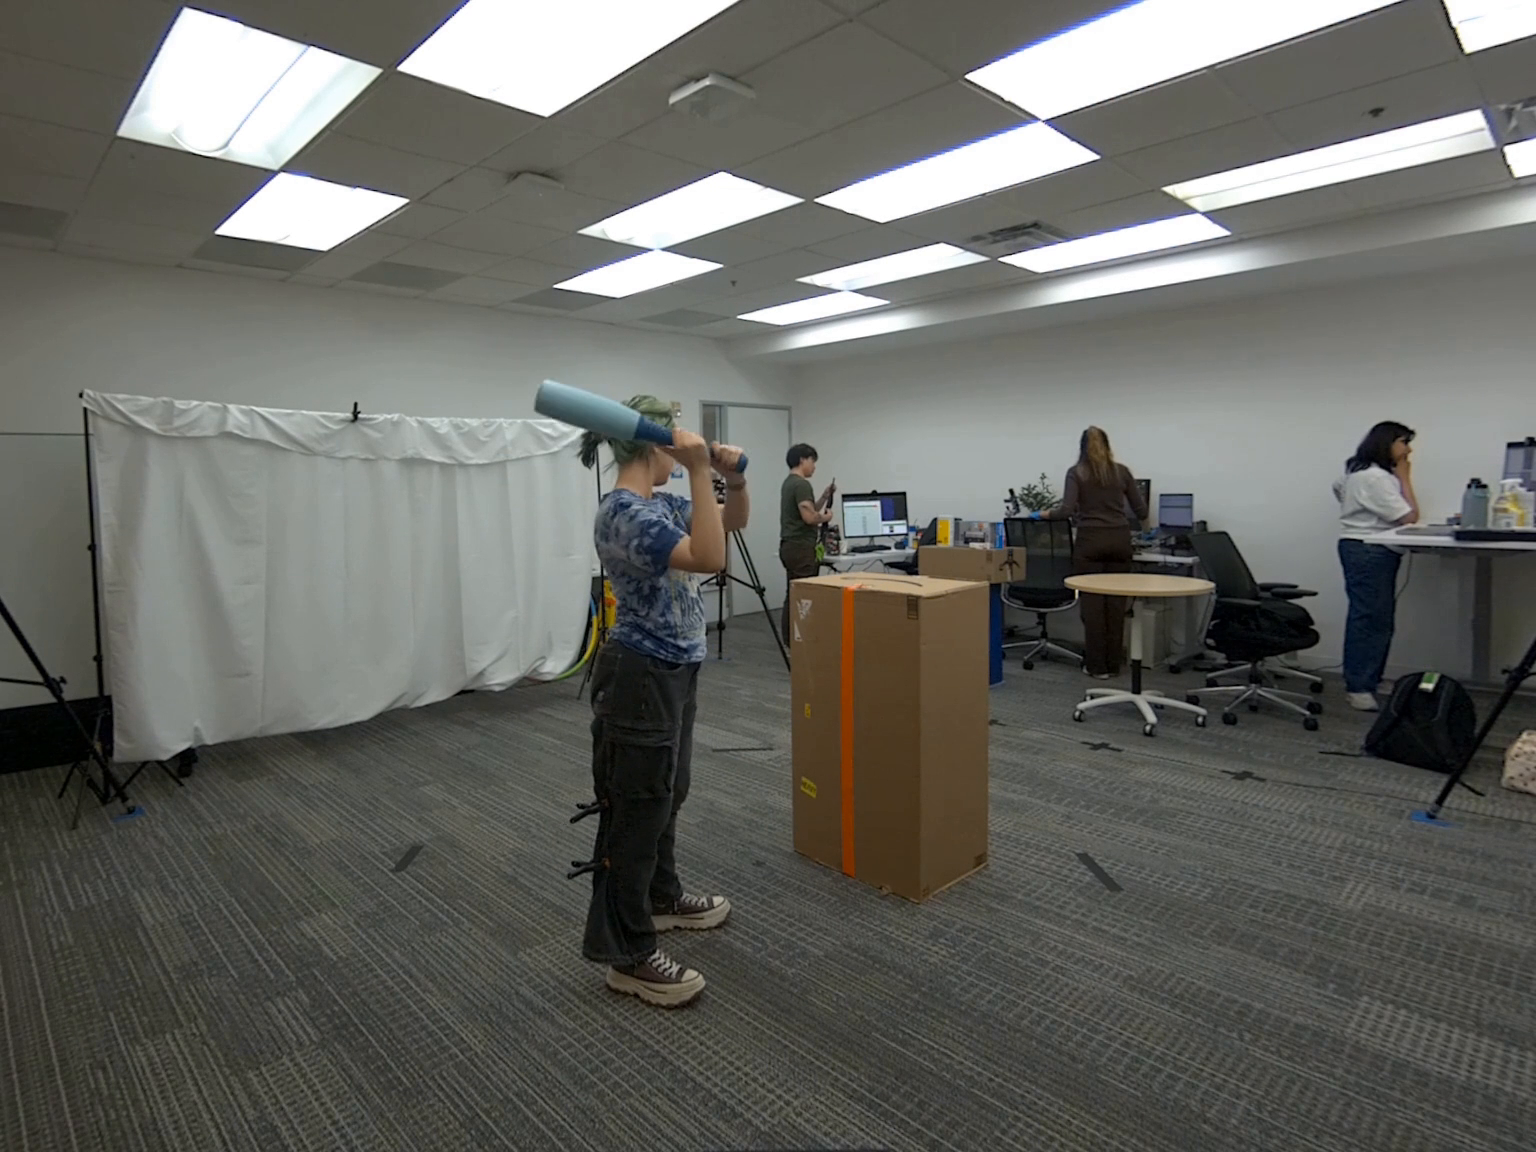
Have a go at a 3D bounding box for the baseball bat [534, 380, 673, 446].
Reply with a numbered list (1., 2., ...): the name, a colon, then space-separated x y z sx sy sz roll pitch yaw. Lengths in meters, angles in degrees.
1. baseball bat: -0.297 -0.351 2.113 0.535 0.089 0.090 17 0 -12
